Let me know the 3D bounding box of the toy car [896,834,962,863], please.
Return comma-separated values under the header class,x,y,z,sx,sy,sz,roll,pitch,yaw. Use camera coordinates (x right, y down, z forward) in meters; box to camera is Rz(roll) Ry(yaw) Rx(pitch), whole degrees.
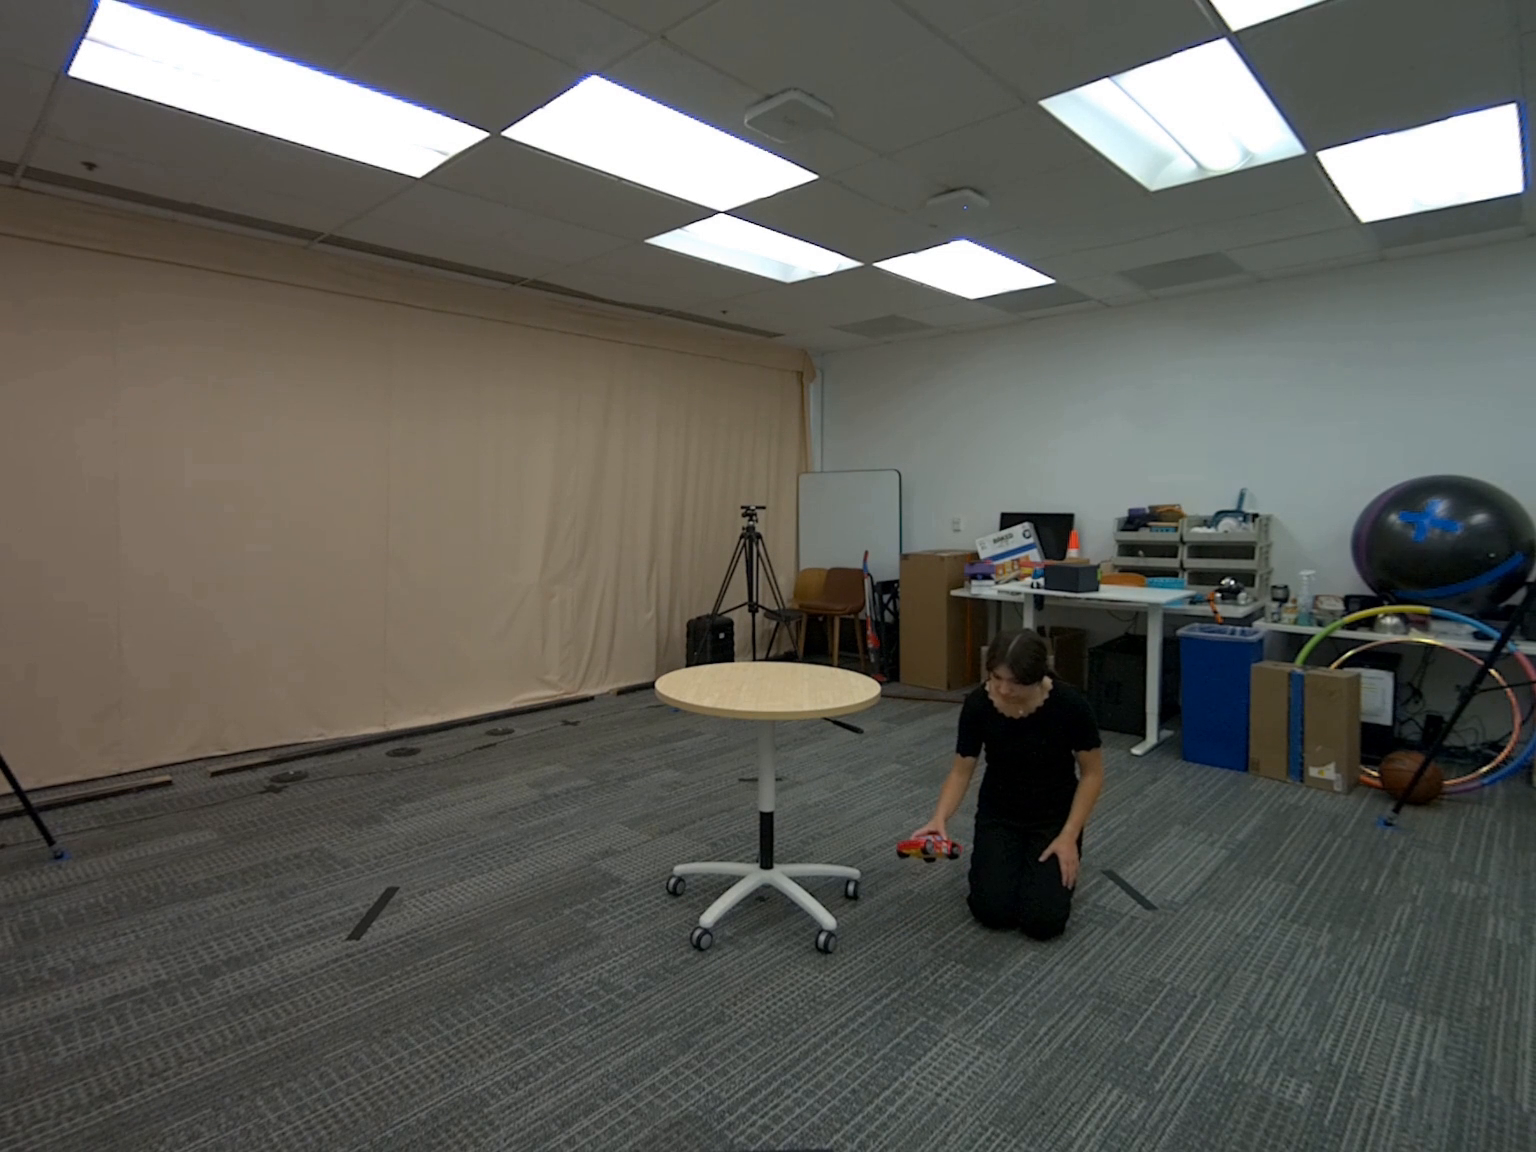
class,x,y,z,sx,sy,sz,roll,pitch,yaw
toy car,0.538,0.874,2.684,0.246,0.084,0.133,11,-27,-44
